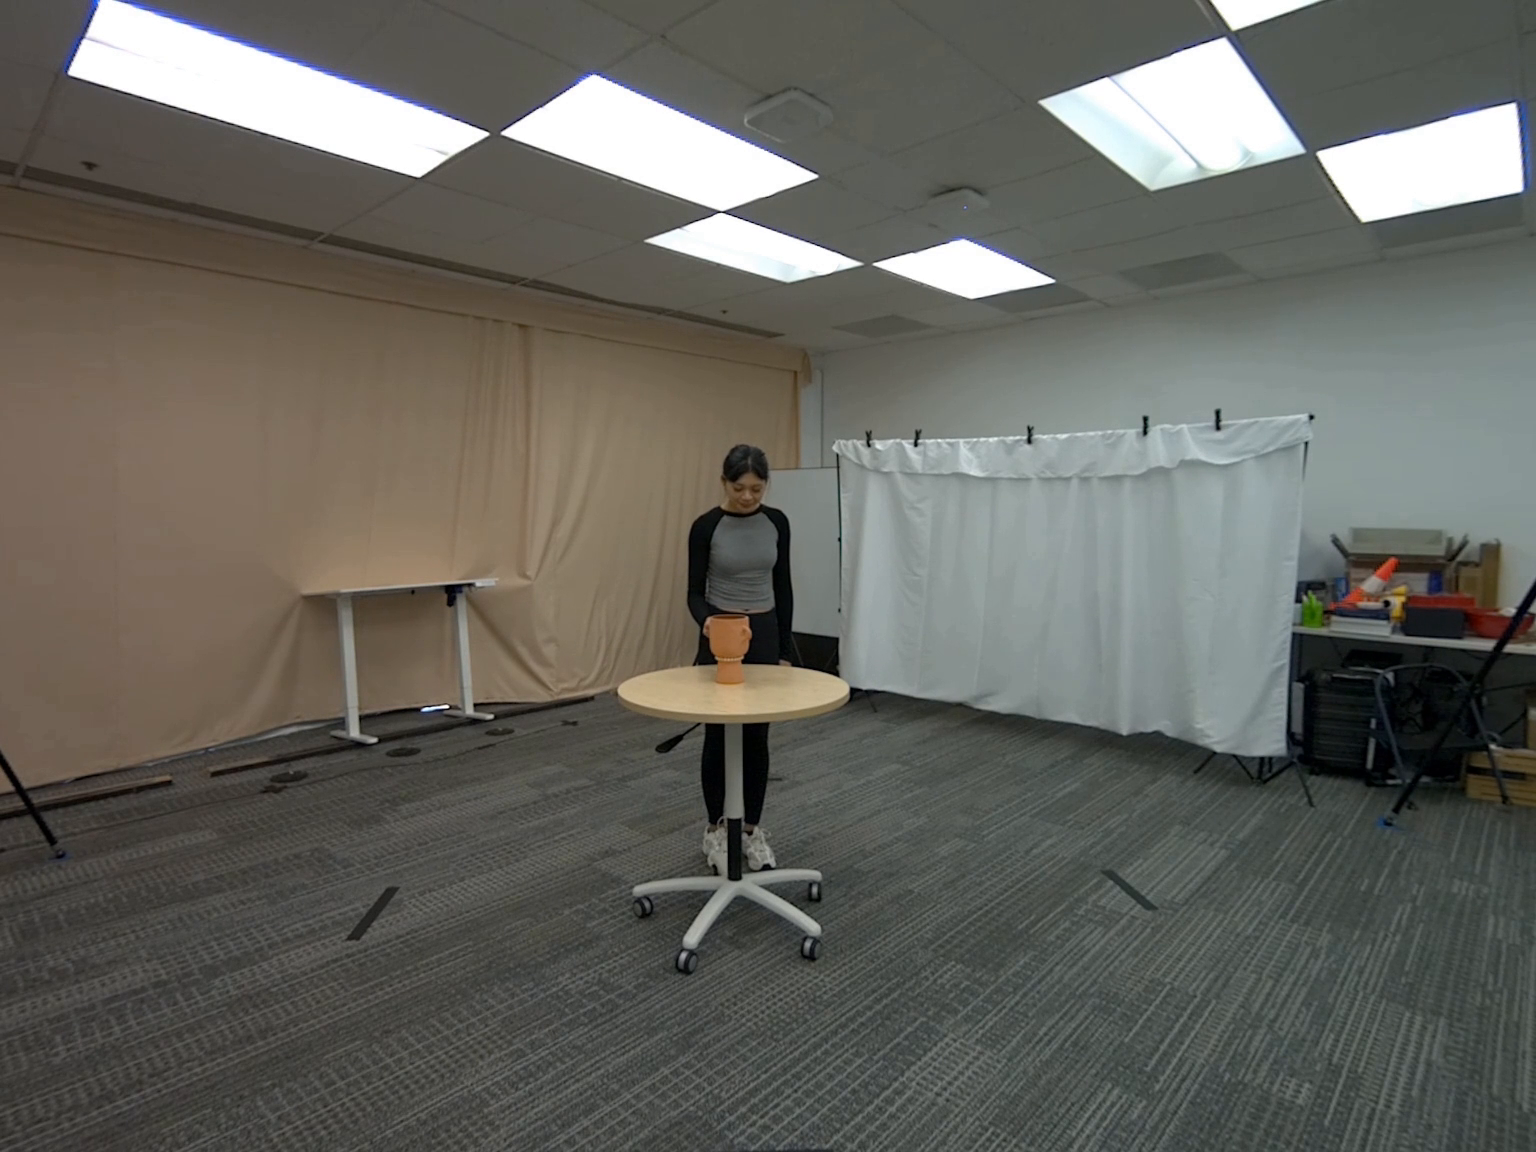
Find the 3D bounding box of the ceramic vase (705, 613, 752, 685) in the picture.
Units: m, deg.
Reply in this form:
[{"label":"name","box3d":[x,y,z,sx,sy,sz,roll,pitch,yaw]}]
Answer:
[{"label":"ceramic vase","box3d":[-0.129,0.248,2.872,0.133,0.219,0.161,-1,5,-9]}]
